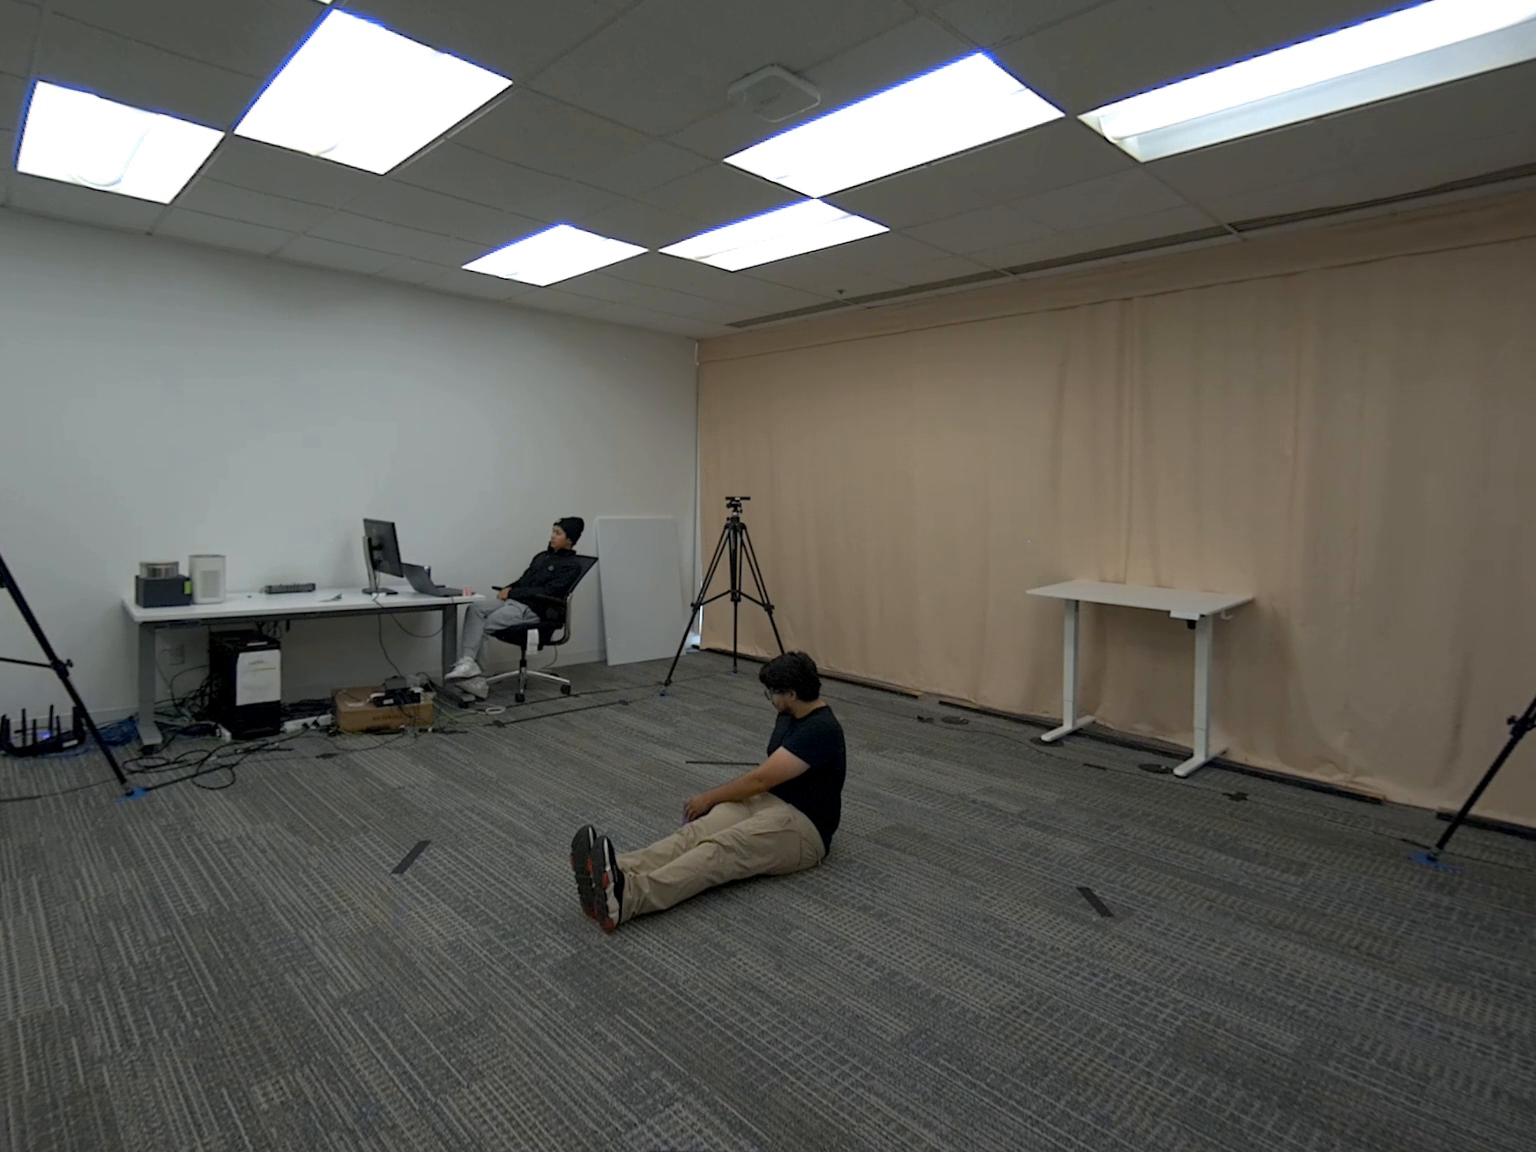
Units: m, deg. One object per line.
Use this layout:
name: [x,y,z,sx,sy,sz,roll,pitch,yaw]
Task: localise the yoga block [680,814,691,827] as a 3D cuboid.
yoga block: [-0.234,0.989,3.491,0.224,0.149,0.078,0,1,-37]
